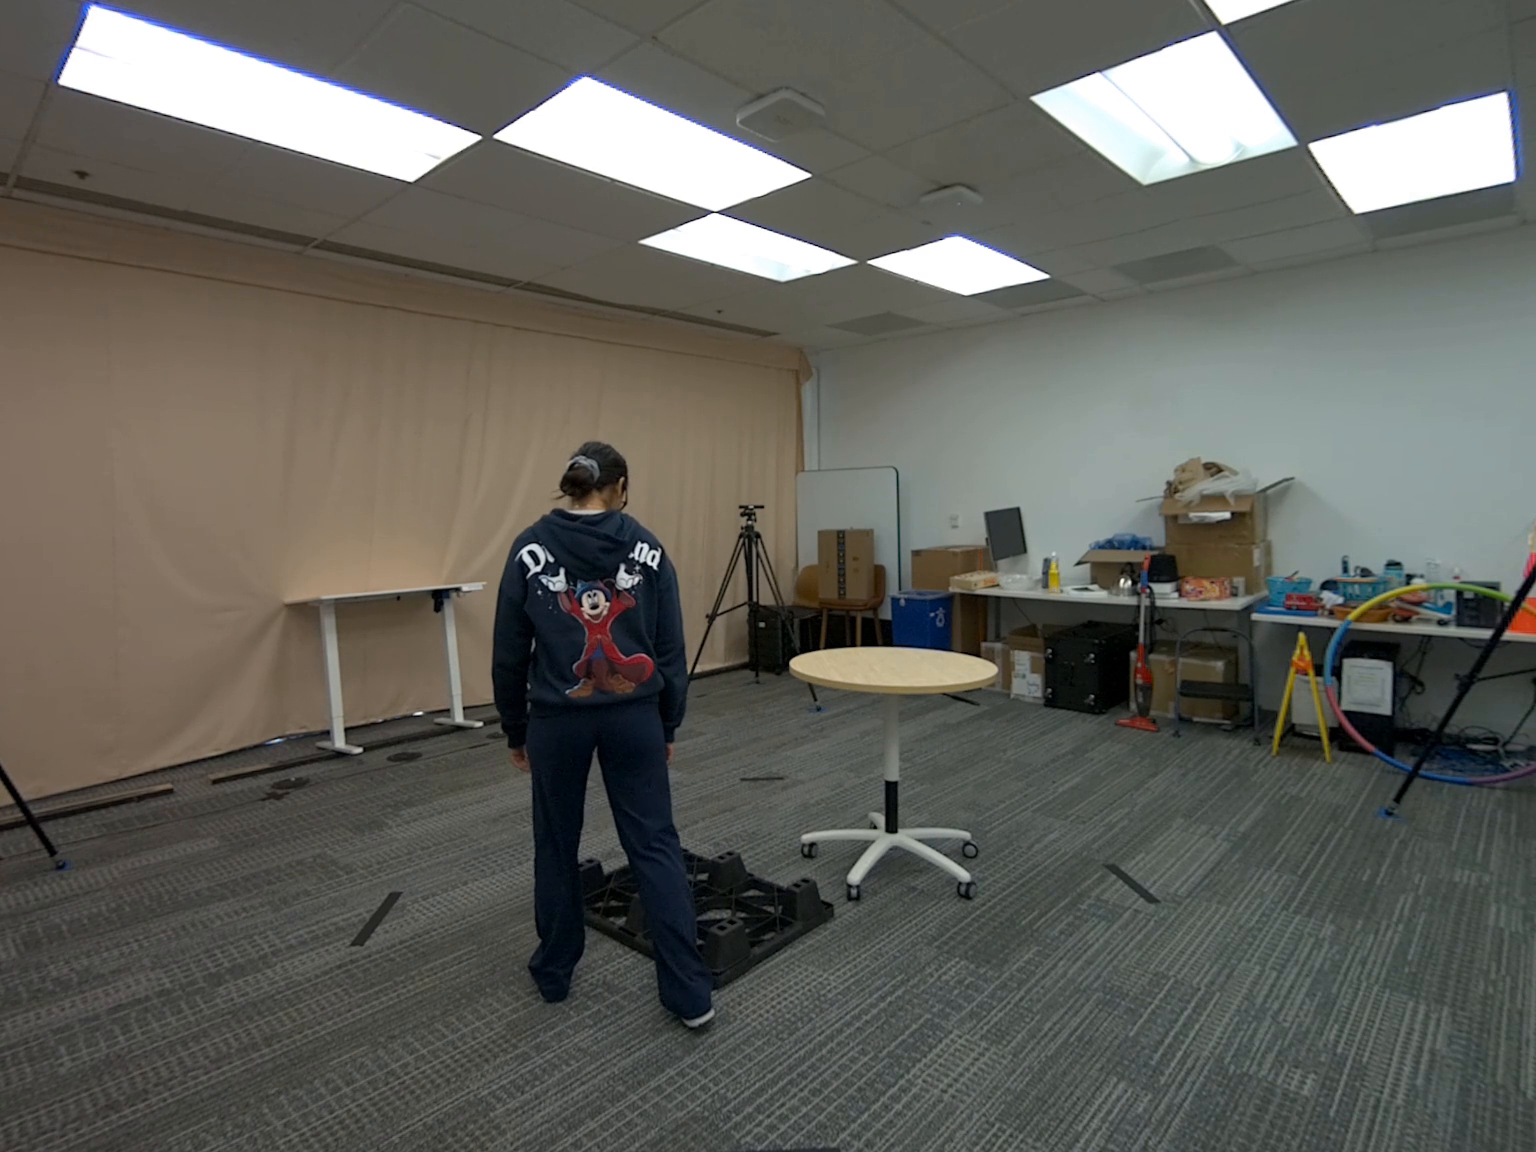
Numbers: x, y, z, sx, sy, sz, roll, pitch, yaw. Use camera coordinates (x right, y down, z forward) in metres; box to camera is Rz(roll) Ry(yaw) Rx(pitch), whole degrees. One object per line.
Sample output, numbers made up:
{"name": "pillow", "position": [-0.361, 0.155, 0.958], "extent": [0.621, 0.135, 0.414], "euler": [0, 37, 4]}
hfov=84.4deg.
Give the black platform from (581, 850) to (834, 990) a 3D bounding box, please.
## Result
{"name": "black platform", "position": [-0.259, 1.090, 2.894], "extent": [0.832, 0.143, 0.587], "euler": [3, 7, 41]}
